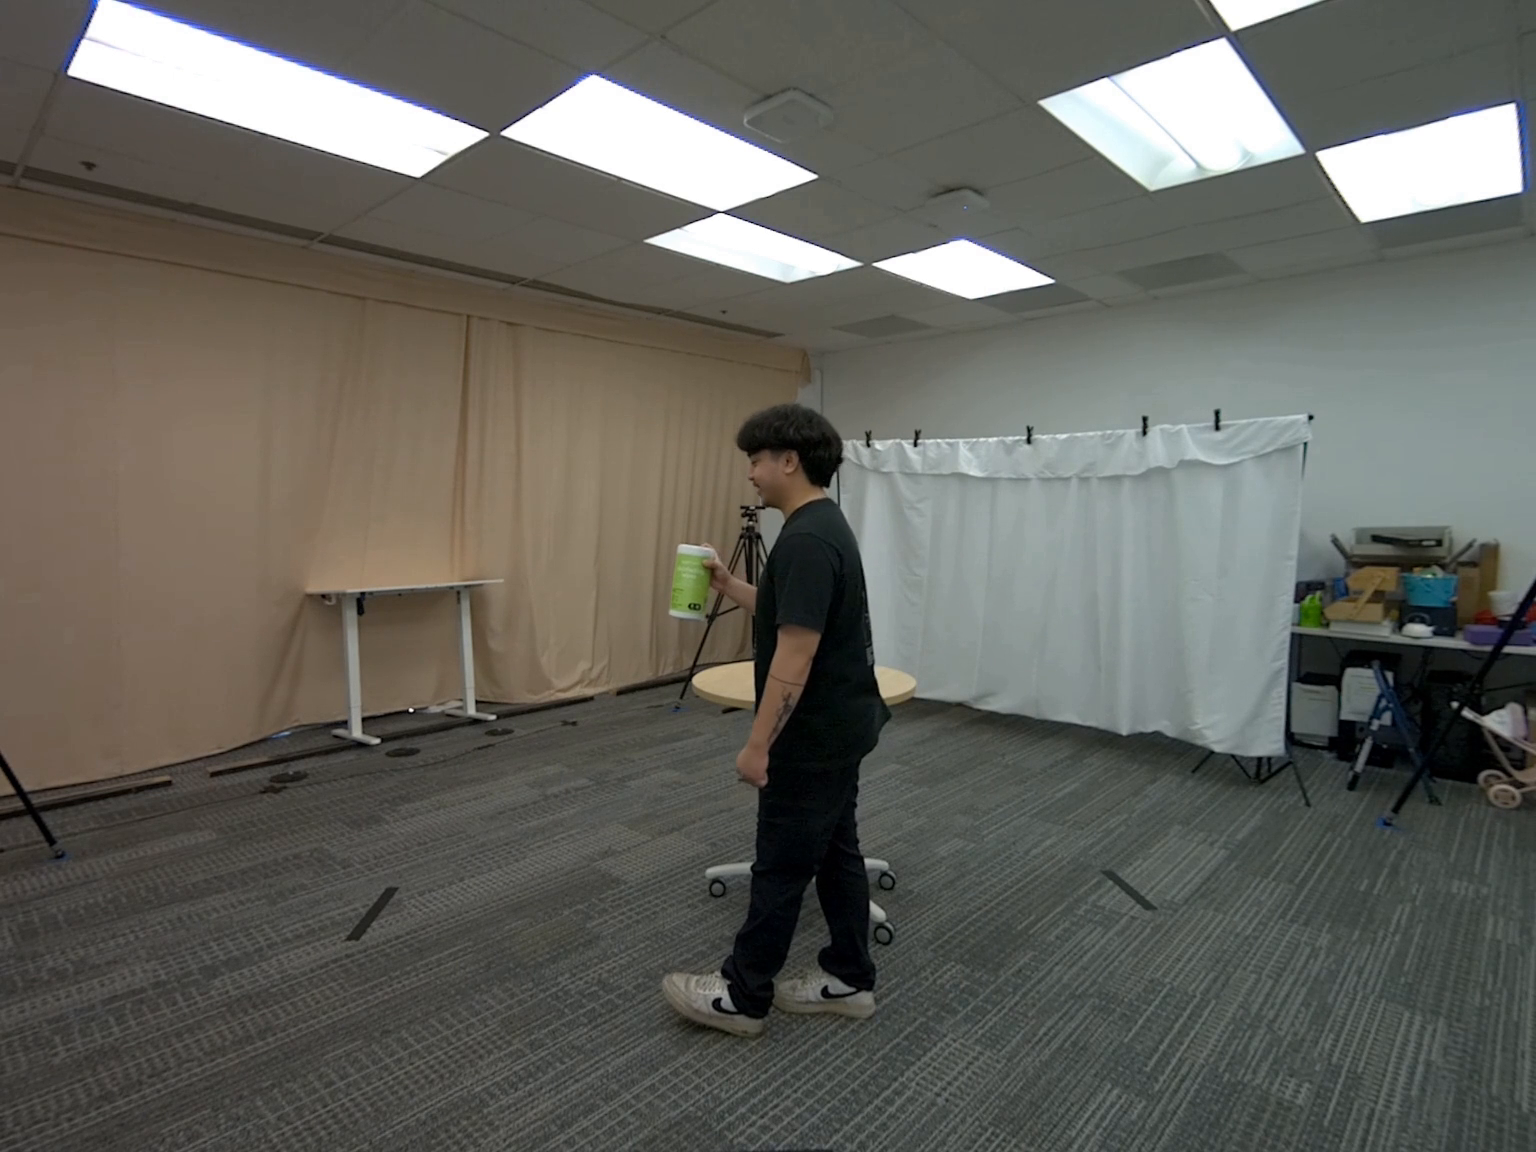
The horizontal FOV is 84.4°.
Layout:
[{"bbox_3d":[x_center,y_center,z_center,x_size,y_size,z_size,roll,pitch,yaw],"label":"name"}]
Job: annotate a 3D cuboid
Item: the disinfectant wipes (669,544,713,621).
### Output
[{"bbox_3d":[-0.231,0.021,2.503,0.117,0.217,0.118,9,0,-2],"label":"disinfectant wipes"}]
